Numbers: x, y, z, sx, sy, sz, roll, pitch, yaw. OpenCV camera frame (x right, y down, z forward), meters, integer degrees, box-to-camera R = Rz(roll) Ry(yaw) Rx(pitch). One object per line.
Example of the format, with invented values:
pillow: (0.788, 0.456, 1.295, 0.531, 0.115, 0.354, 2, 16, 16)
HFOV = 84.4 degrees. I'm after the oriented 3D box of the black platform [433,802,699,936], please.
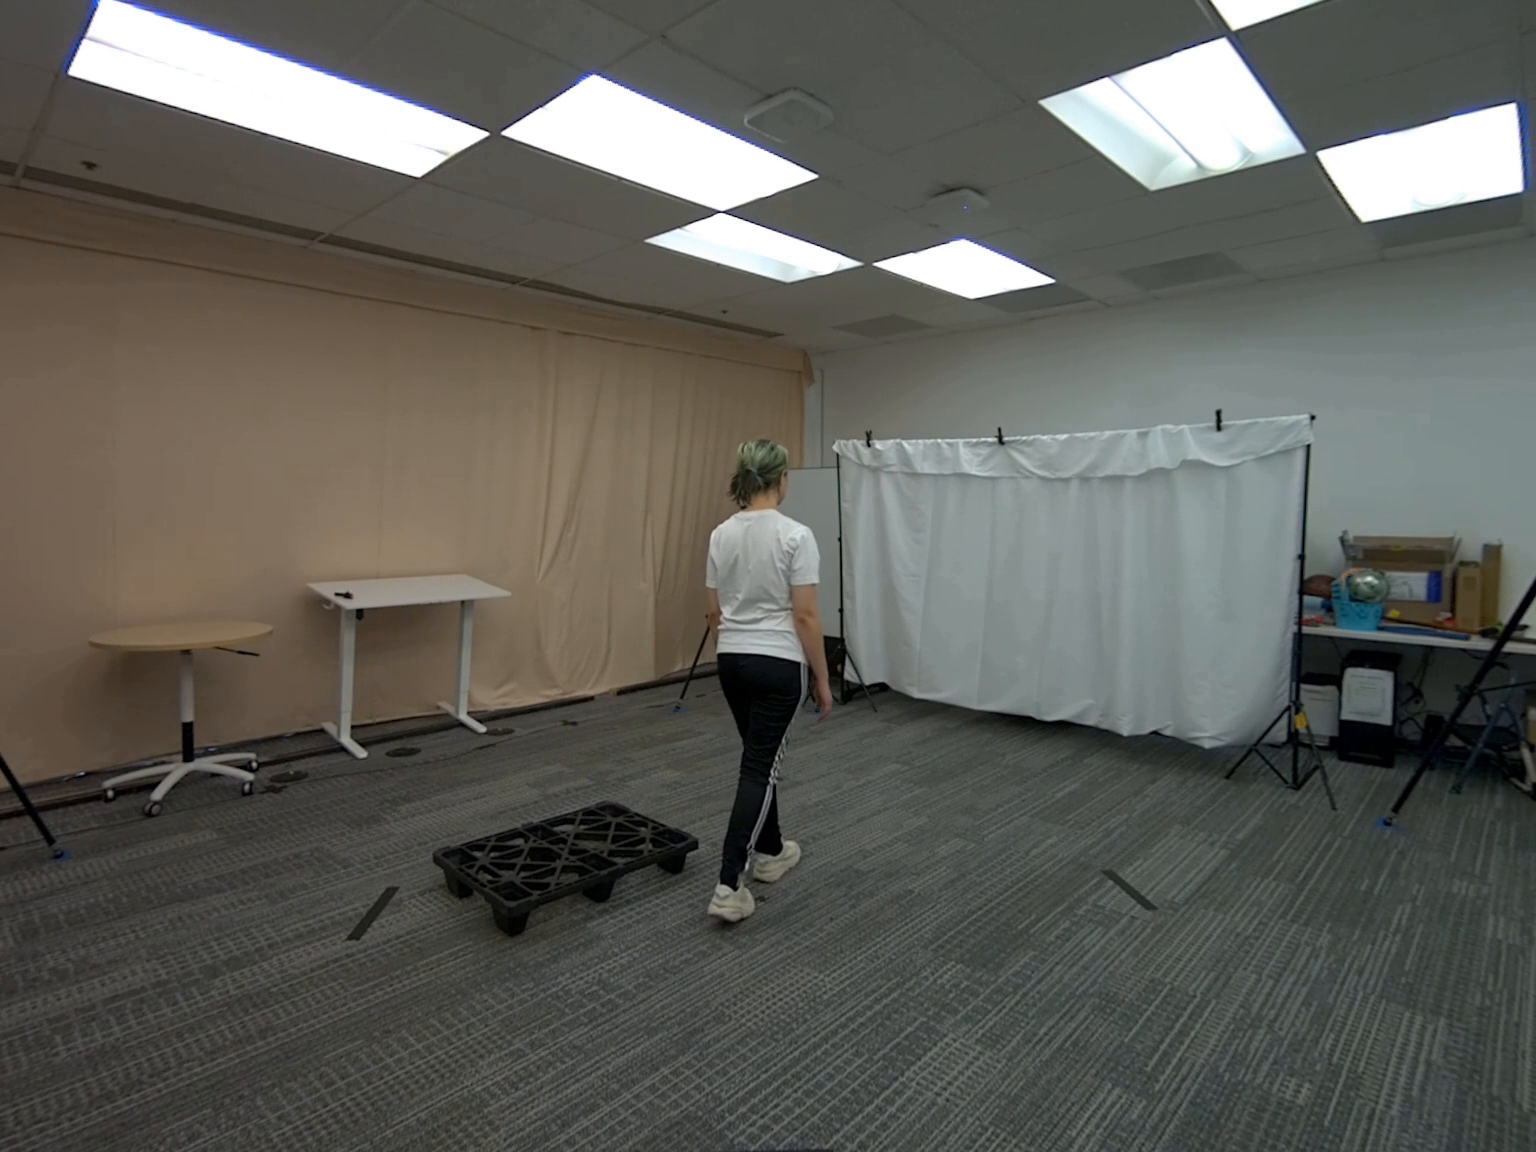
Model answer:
black platform: (-0.739, 1.074, 3.141, 0.781, 0.143, 0.625, -5, 7, -44)
